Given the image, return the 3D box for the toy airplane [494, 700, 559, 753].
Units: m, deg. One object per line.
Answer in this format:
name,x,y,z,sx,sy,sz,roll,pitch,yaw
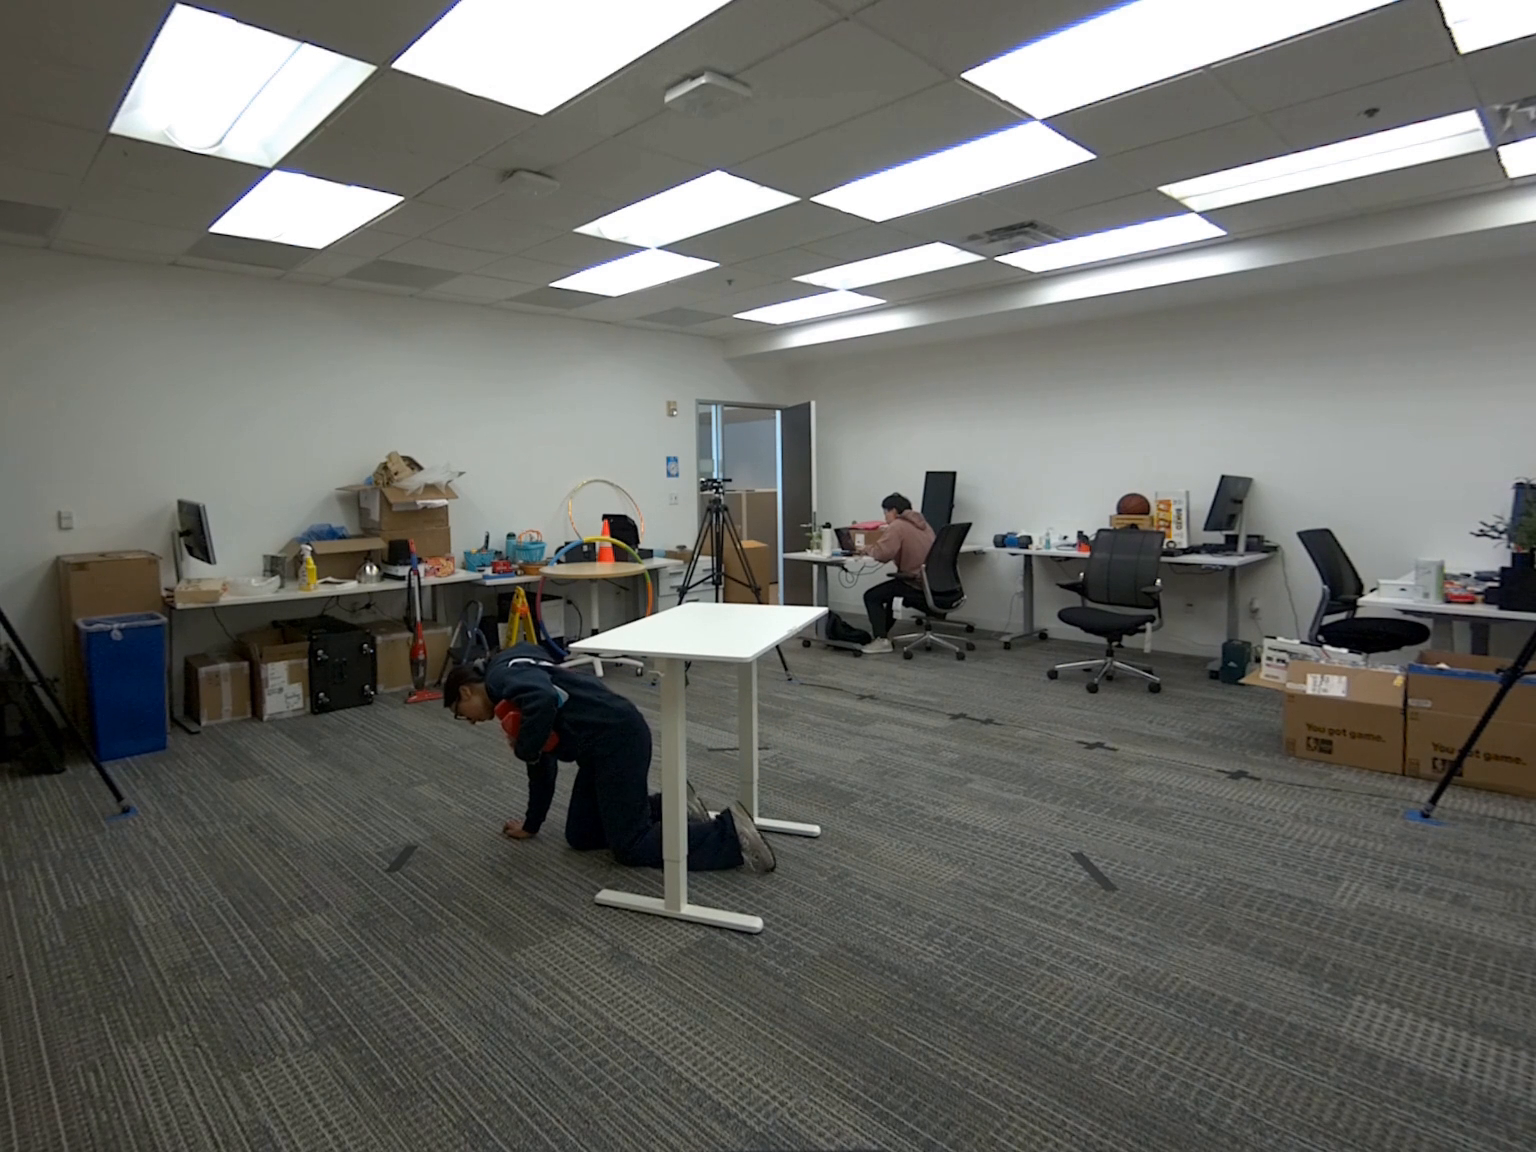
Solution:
toy airplane,-0.854,0.491,3.055,0.244,0.257,0.162,10,33,-31
